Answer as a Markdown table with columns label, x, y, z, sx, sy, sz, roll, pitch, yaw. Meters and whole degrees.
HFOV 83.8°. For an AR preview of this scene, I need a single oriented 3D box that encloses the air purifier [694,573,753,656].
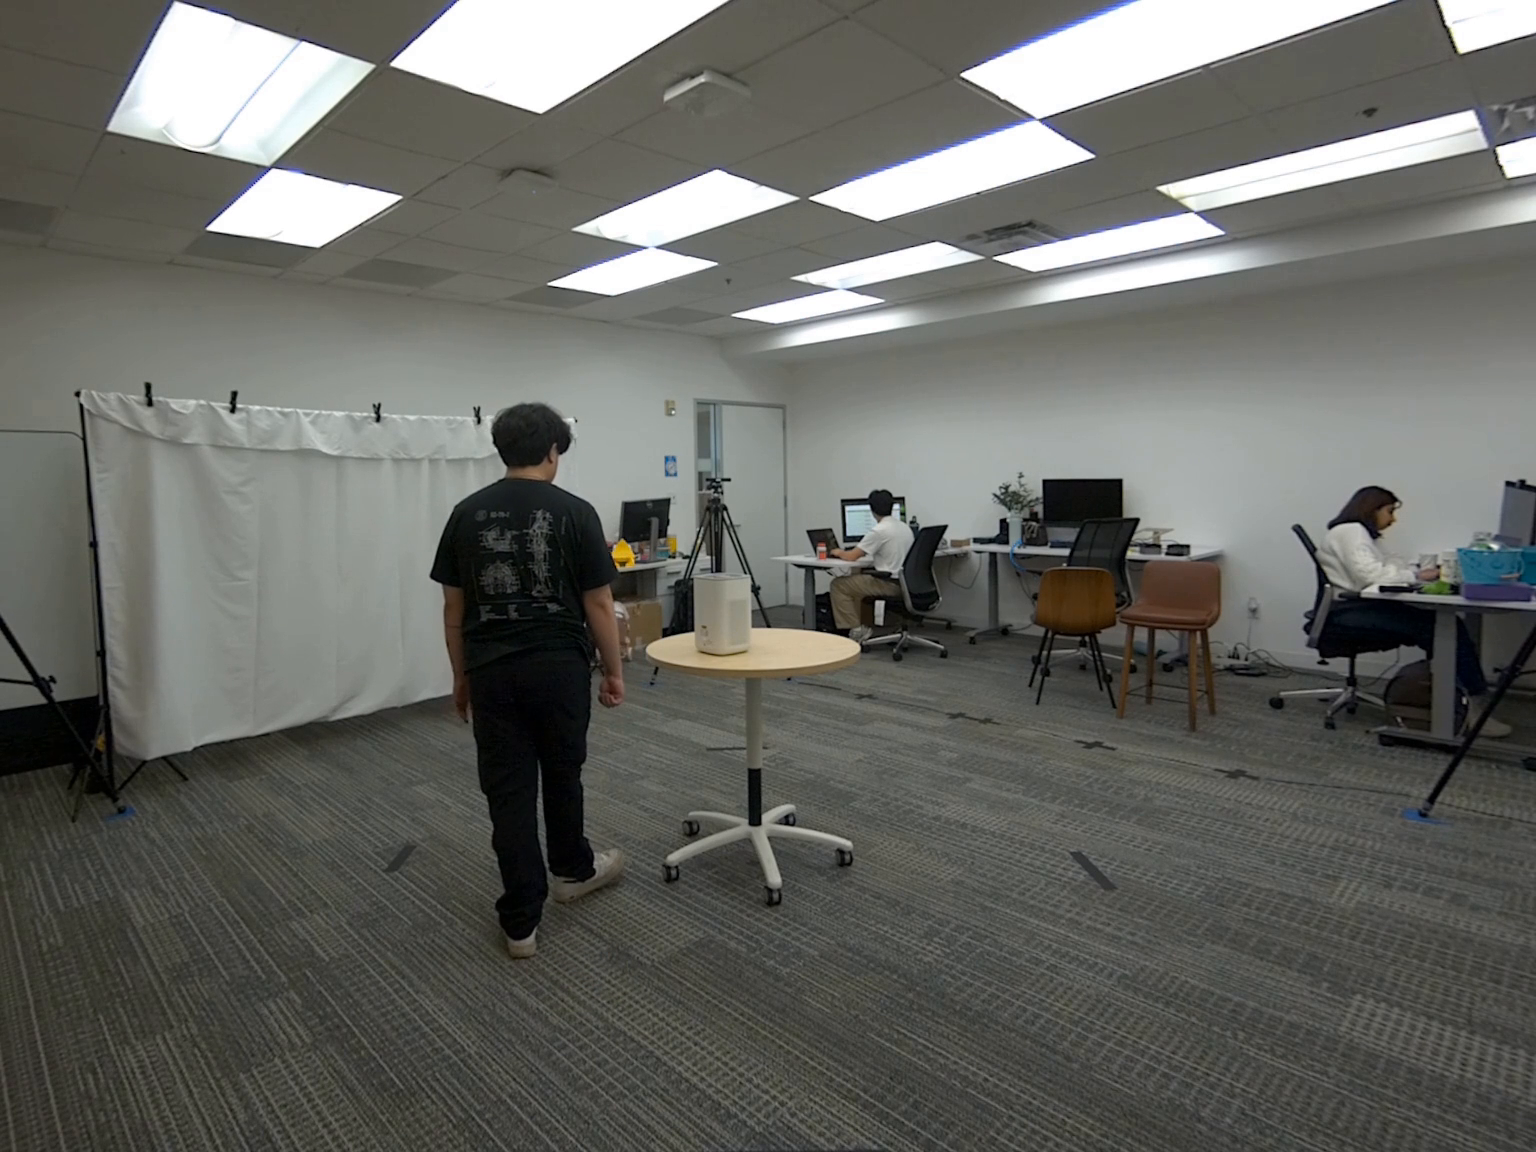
| label | x | y | z | sx | sy | sz | roll | pitch | yaw |
| --- | --- | --- | --- | --- | --- | --- | --- | --- | --- |
| air purifier | -0.156 | 0.126 | 2.981 | 0.167 | 0.264 | 0.176 | -4 | 6 | -43 |
